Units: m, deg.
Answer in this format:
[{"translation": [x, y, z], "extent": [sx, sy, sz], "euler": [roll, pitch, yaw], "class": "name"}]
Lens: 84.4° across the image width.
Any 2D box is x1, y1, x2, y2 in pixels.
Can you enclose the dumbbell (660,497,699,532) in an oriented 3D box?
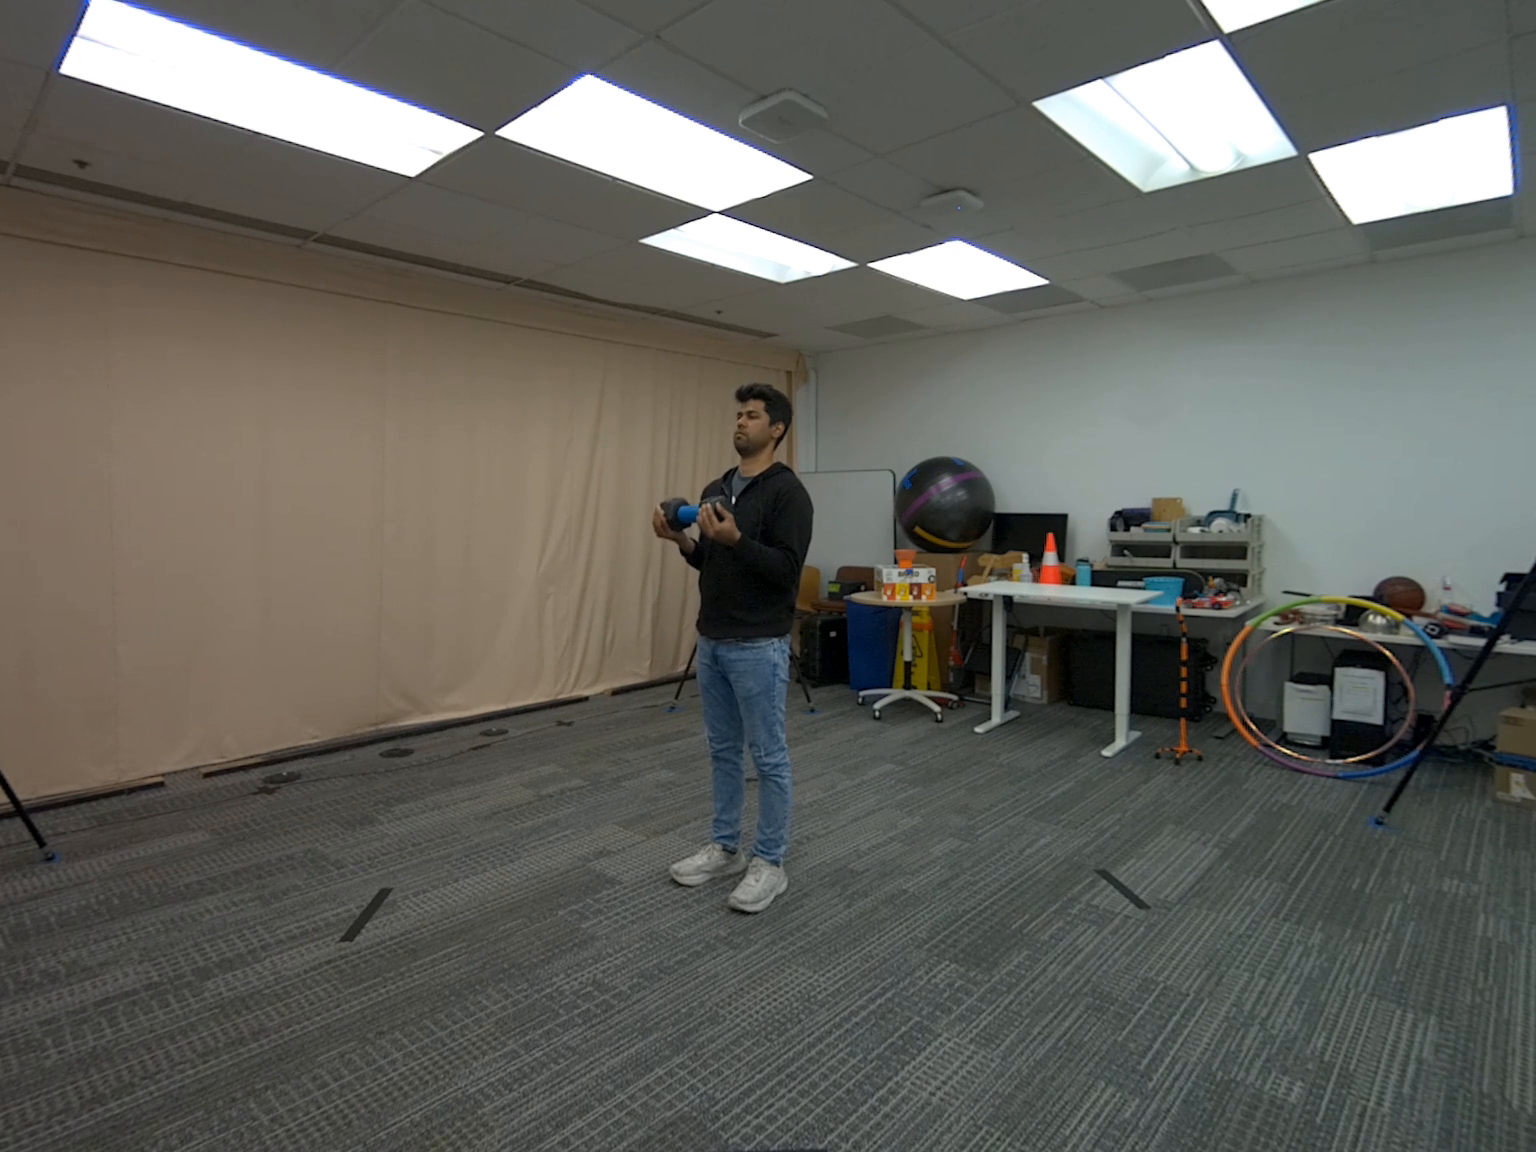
[{"translation": [-0.233, -0.200, 2.883], "extent": [0.303, 0.107, 0.120], "euler": [2, 19, 44], "class": "dumbbell"}]
